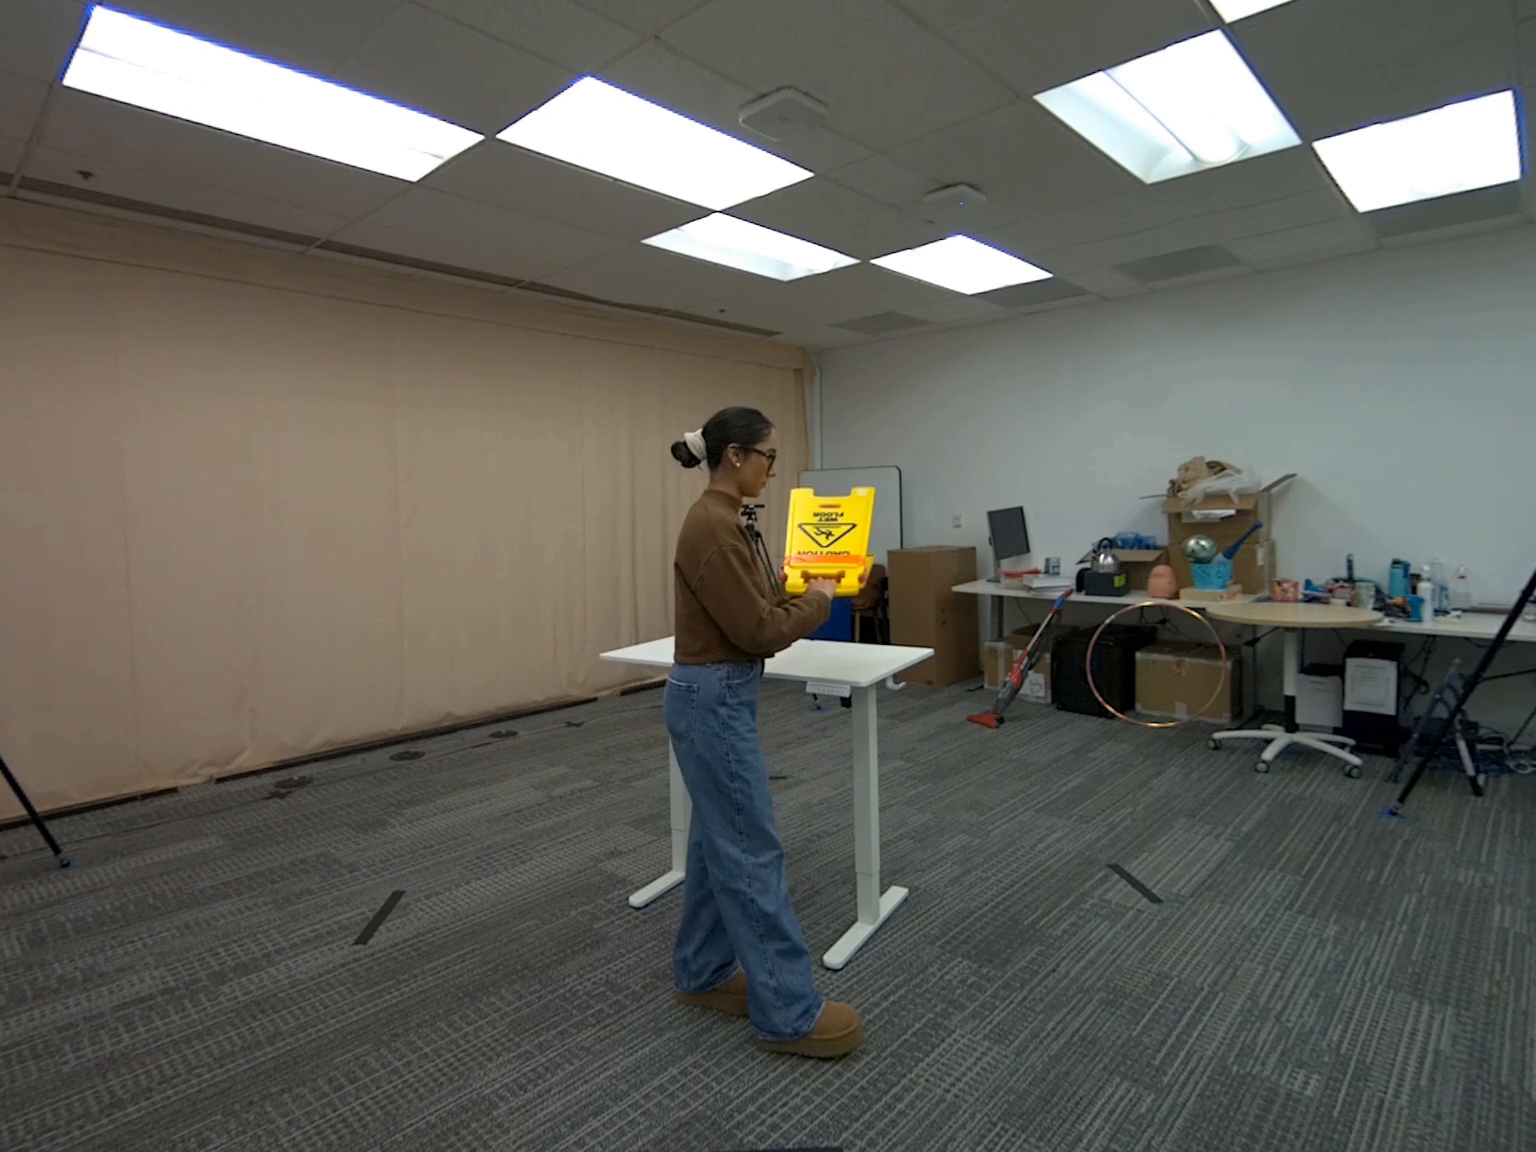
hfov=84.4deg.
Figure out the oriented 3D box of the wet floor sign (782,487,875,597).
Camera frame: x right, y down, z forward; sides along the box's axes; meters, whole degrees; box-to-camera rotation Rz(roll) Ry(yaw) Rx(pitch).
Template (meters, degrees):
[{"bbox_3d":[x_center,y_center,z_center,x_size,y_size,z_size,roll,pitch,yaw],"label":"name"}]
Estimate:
[{"bbox_3d":[0.198,-0.064,2.554,0.285,0.286,0.647,-2,18,8],"label":"wet floor sign"}]
